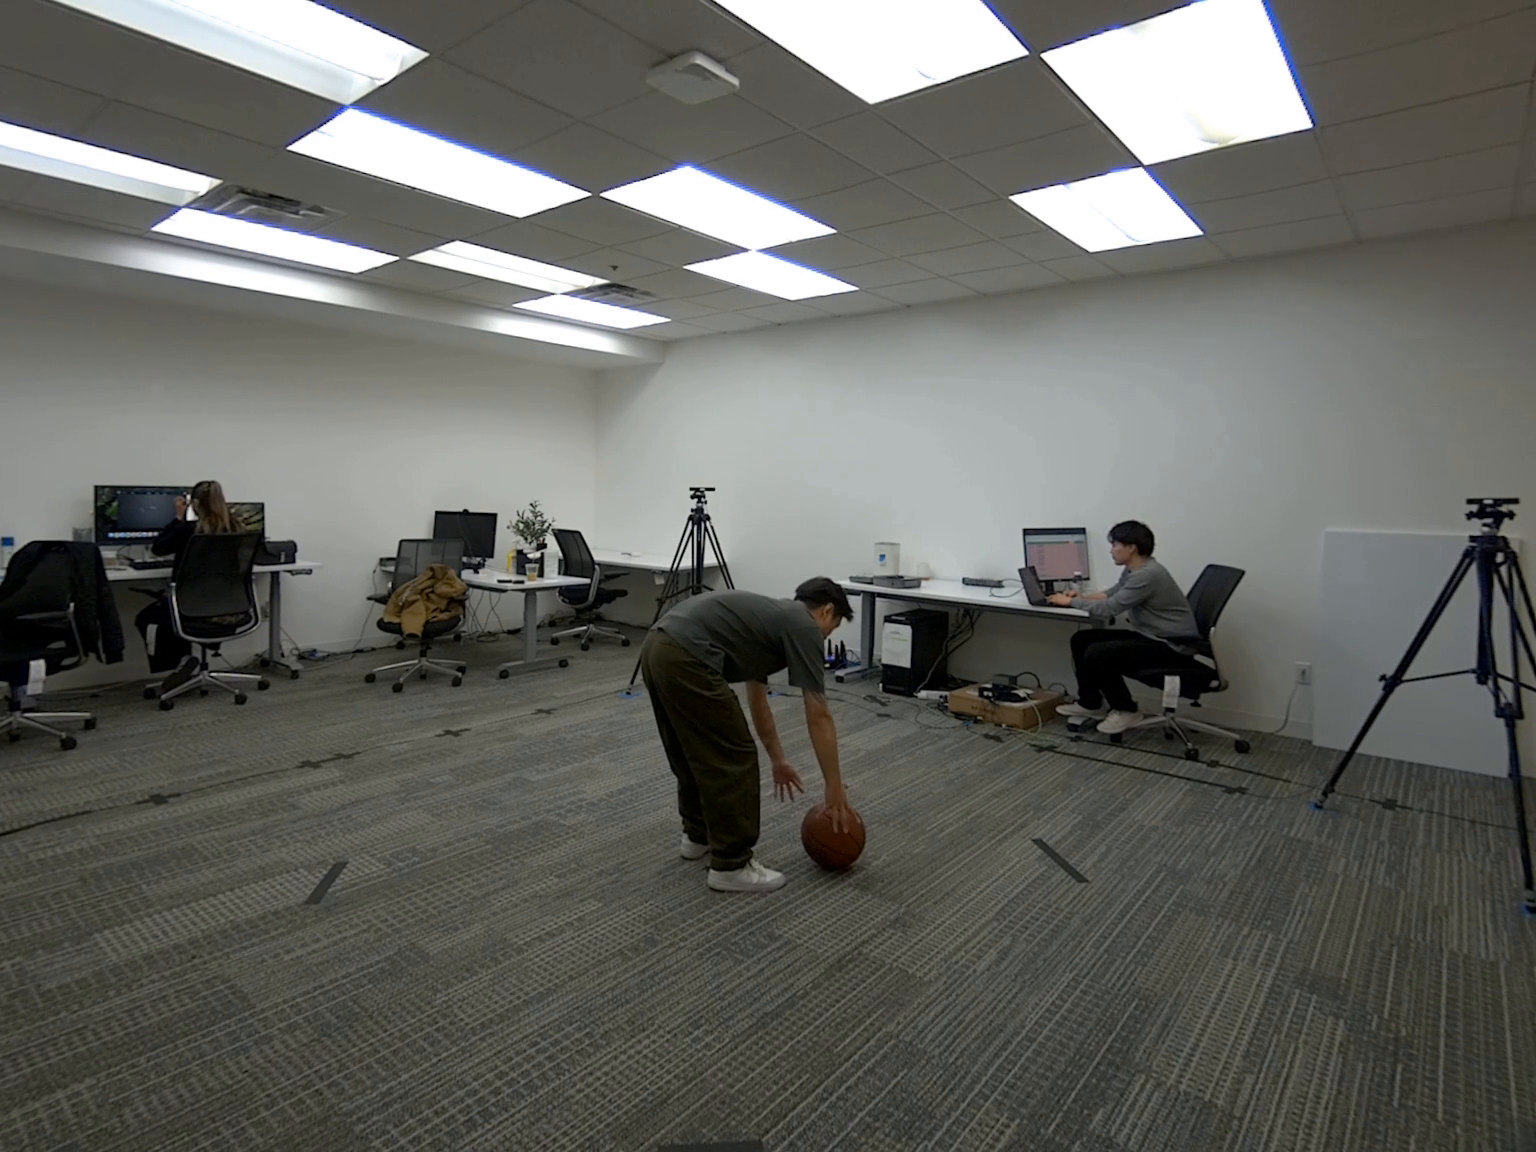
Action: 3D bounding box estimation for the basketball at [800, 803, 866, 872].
[{"bbox_3d":[0.239,0.952,3.143,0.235,0.235,0.237,1,4,-2],"label":"basketball"}]
